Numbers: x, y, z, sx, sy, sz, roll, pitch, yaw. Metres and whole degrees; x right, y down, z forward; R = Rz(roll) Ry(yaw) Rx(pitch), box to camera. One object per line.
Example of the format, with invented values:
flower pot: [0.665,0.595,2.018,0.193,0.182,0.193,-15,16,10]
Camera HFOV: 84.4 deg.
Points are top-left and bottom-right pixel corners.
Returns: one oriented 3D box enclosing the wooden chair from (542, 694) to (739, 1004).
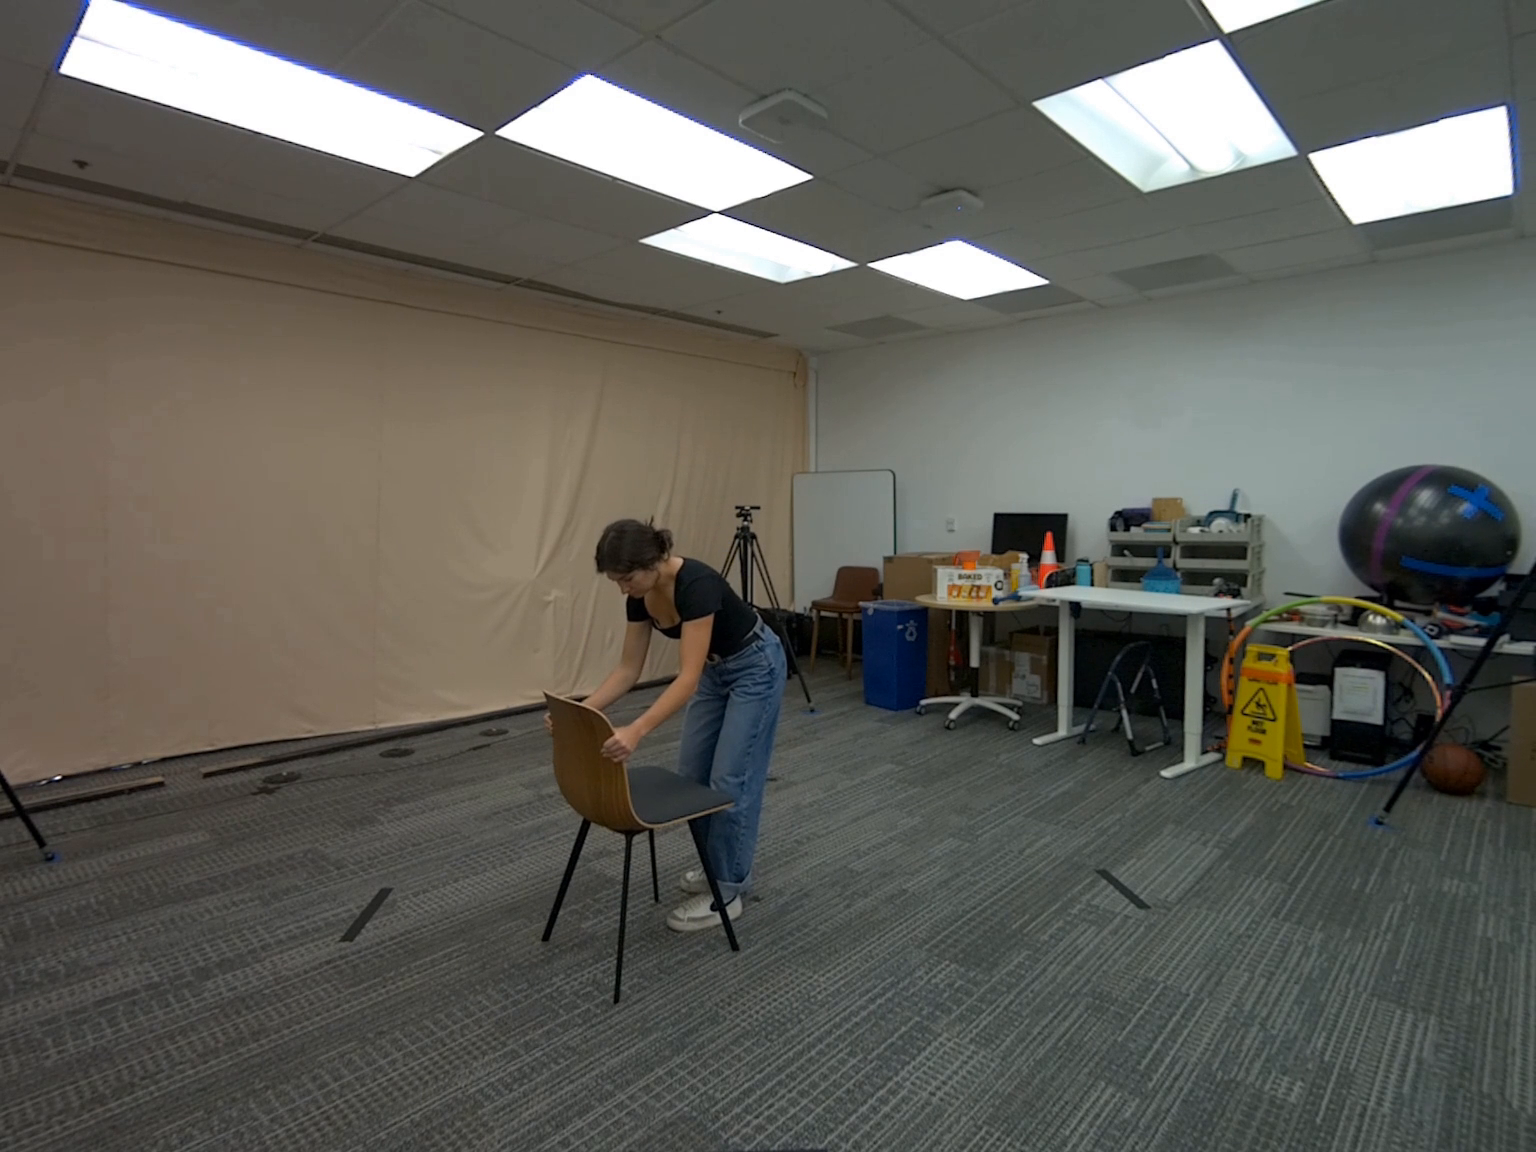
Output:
wooden chair: [-0.405,0.748,2.646,0.508,0.874,0.494,-8,7,-40]
